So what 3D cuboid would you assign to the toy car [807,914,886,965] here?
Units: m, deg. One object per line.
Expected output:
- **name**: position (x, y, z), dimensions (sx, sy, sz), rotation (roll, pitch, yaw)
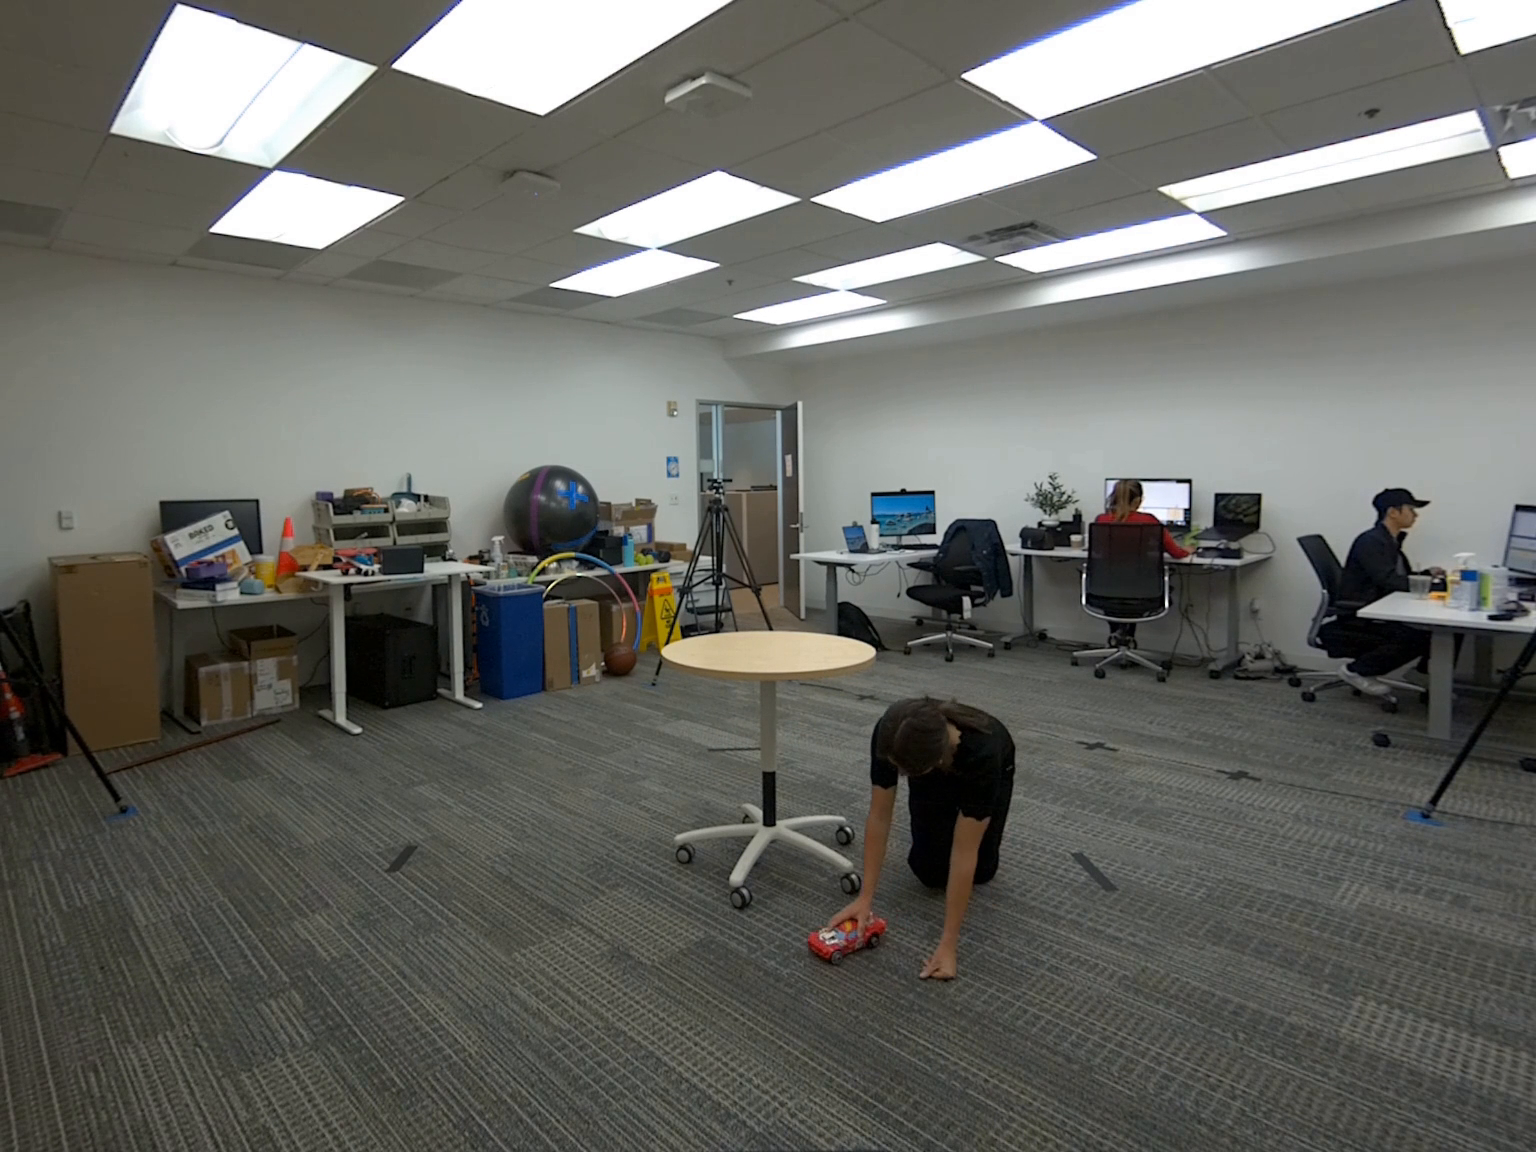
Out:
- **toy car**: position (0.245, 1.081, 2.537), dimensions (0.250, 0.082, 0.134), rotation (-16, 13, -31)
